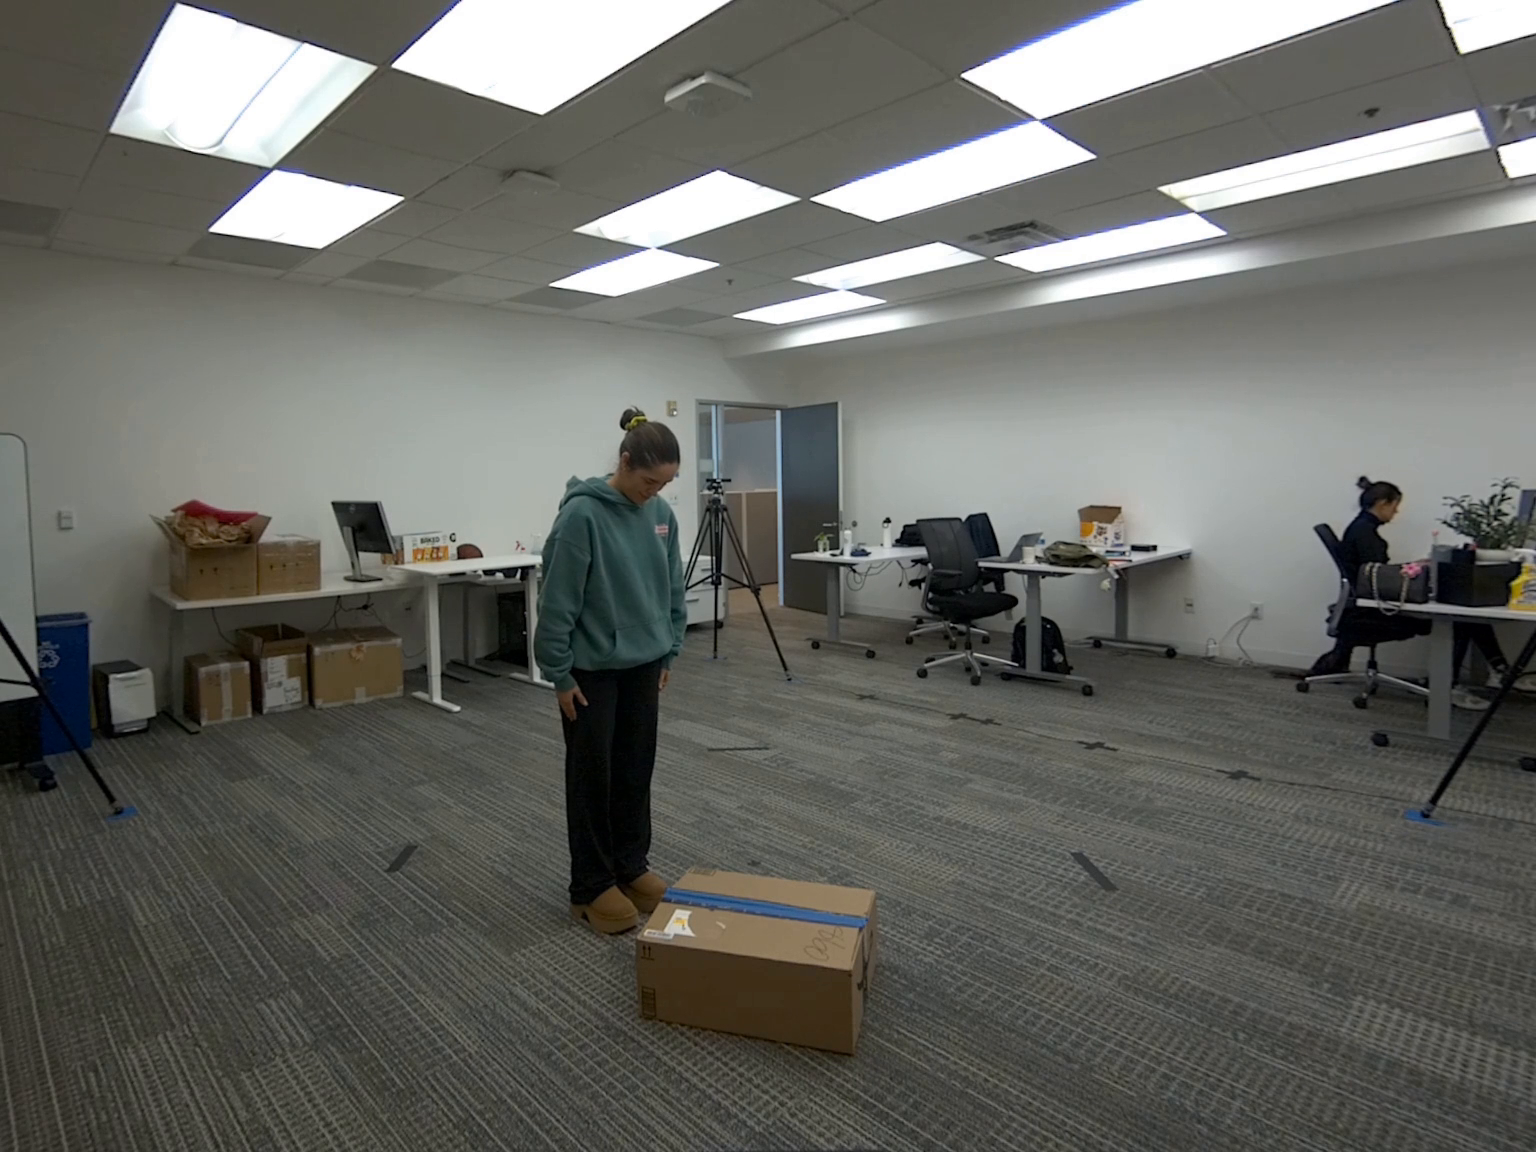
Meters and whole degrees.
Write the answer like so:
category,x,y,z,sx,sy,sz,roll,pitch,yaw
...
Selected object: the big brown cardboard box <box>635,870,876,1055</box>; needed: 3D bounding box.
category,x,y,z,sx,sy,sz,roll,pitch,yaw
big brown cardboard box,-0.016,1.019,2.336,0.599,0.232,0.413,1,6,16
